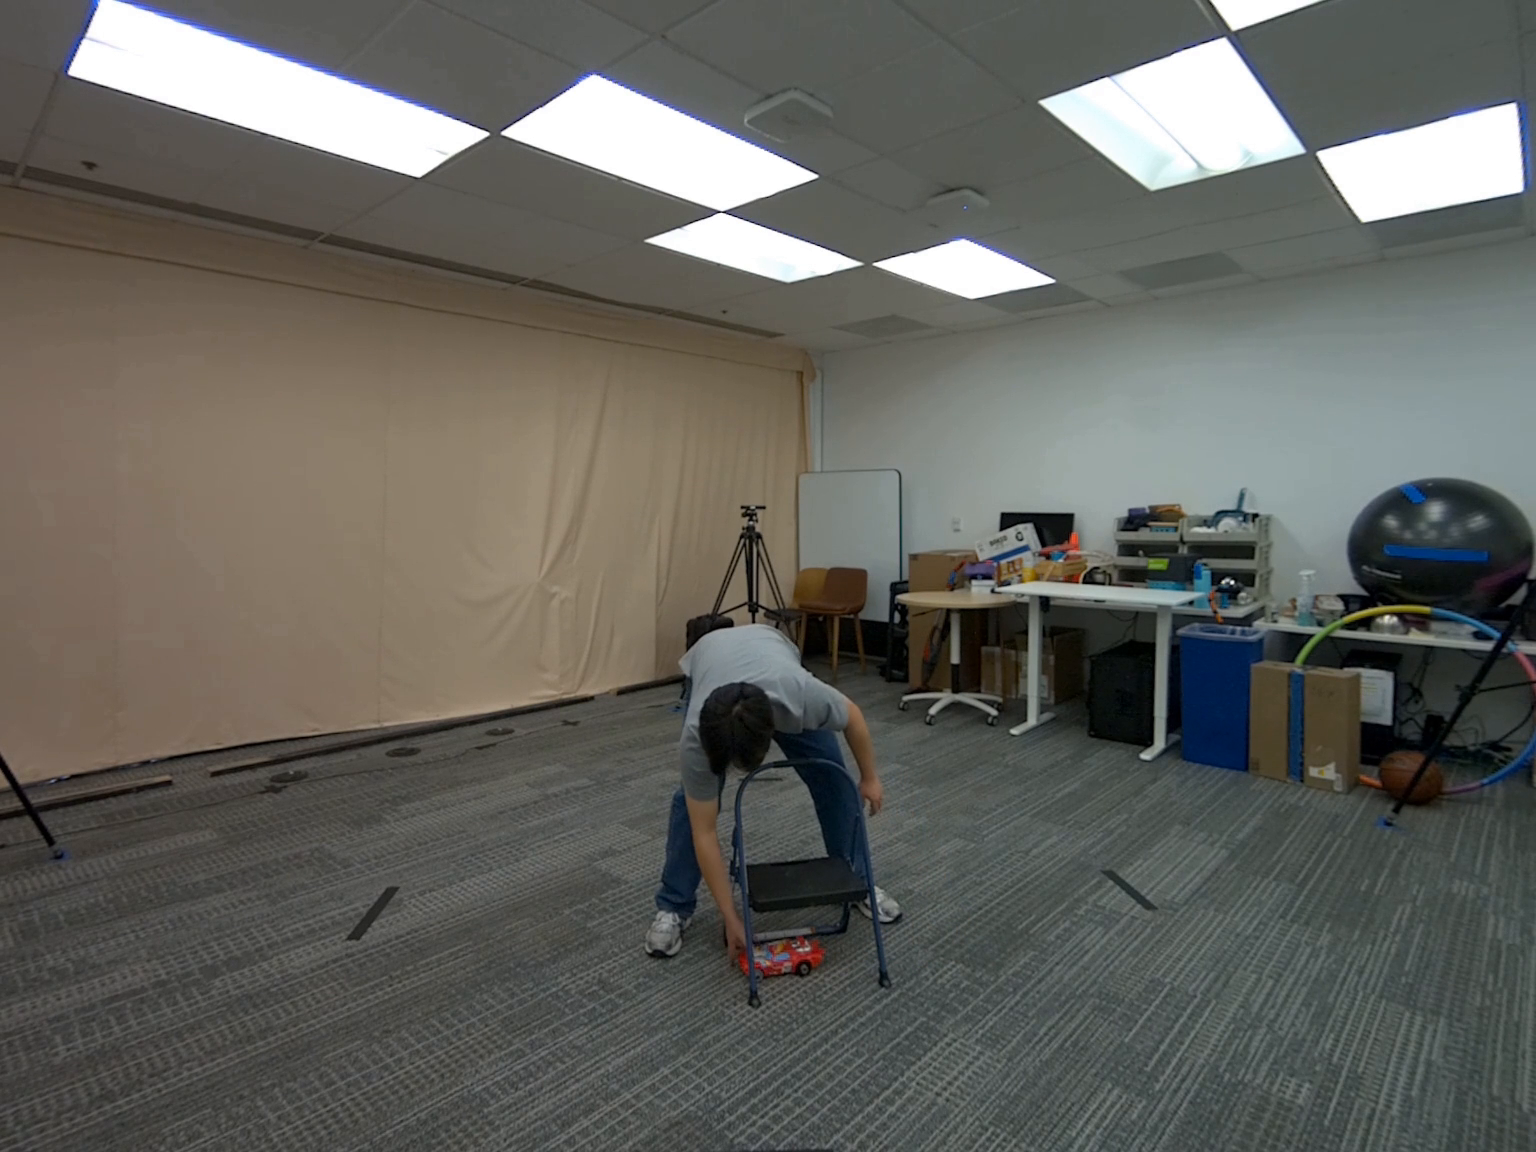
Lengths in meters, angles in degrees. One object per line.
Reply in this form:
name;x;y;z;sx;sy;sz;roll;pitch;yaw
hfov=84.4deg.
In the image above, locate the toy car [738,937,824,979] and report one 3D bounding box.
toy car;0.048;1.155;2.521;0.251;0.083;0.133;-14;7;-15
